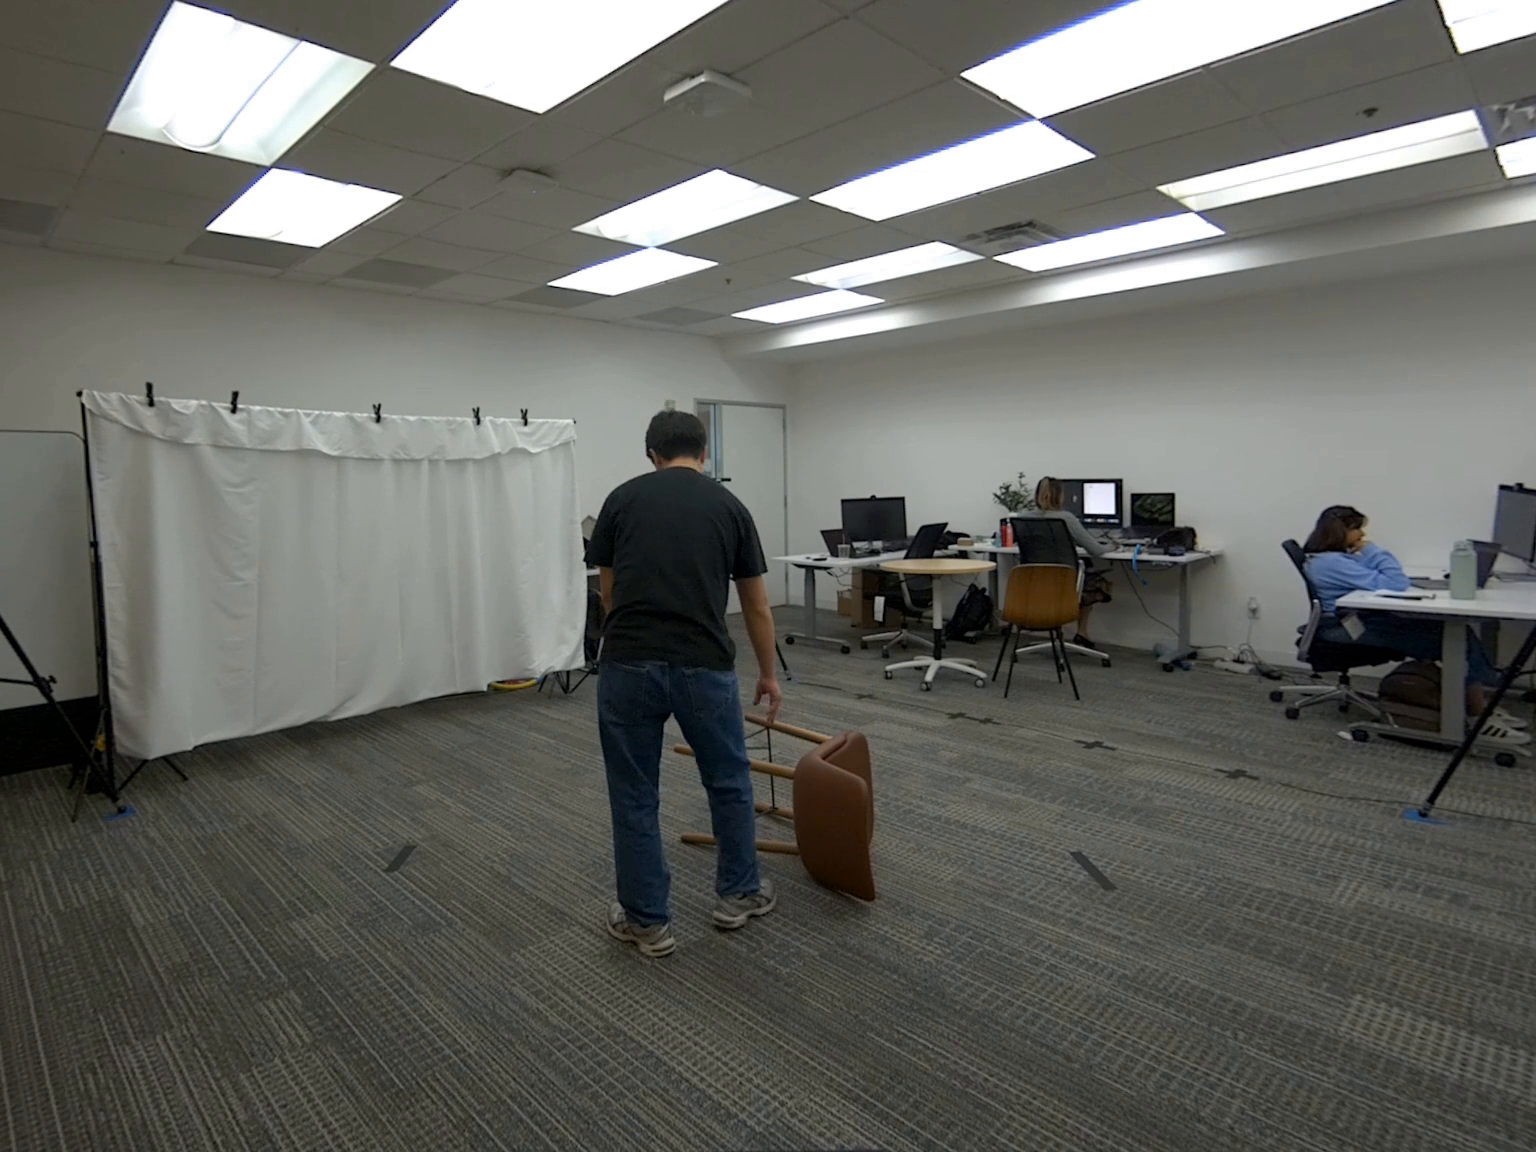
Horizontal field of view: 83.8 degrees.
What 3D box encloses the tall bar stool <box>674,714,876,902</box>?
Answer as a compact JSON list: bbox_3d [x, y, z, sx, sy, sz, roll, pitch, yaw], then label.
[{"bbox_3d":[0.127,0.815,3.157,0.916,0.455,0.456,1,6,42],"label":"tall bar stool"}]
